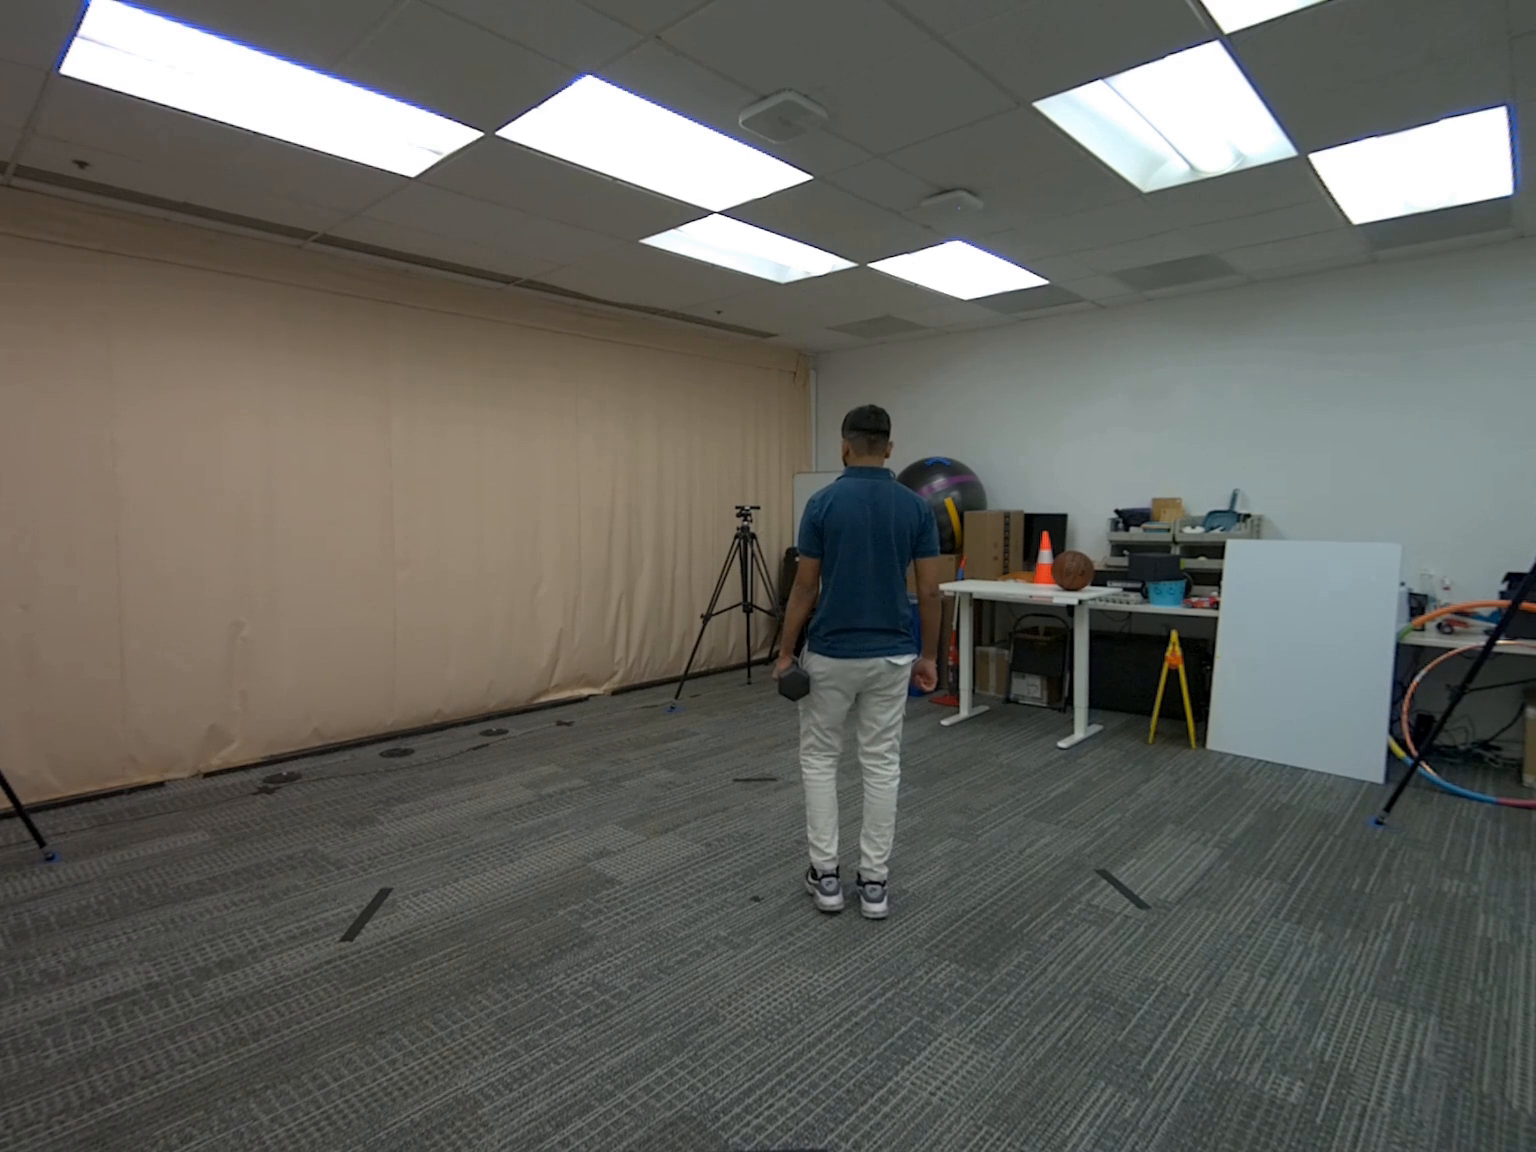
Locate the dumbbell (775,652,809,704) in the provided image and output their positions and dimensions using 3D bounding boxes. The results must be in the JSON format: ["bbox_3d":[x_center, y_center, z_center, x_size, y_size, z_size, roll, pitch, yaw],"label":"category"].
[{"bbox_3d":[0.100,0.359,3.010,0.108,0.123,0.295,3,3,-6],"label":"dumbbell"}]
